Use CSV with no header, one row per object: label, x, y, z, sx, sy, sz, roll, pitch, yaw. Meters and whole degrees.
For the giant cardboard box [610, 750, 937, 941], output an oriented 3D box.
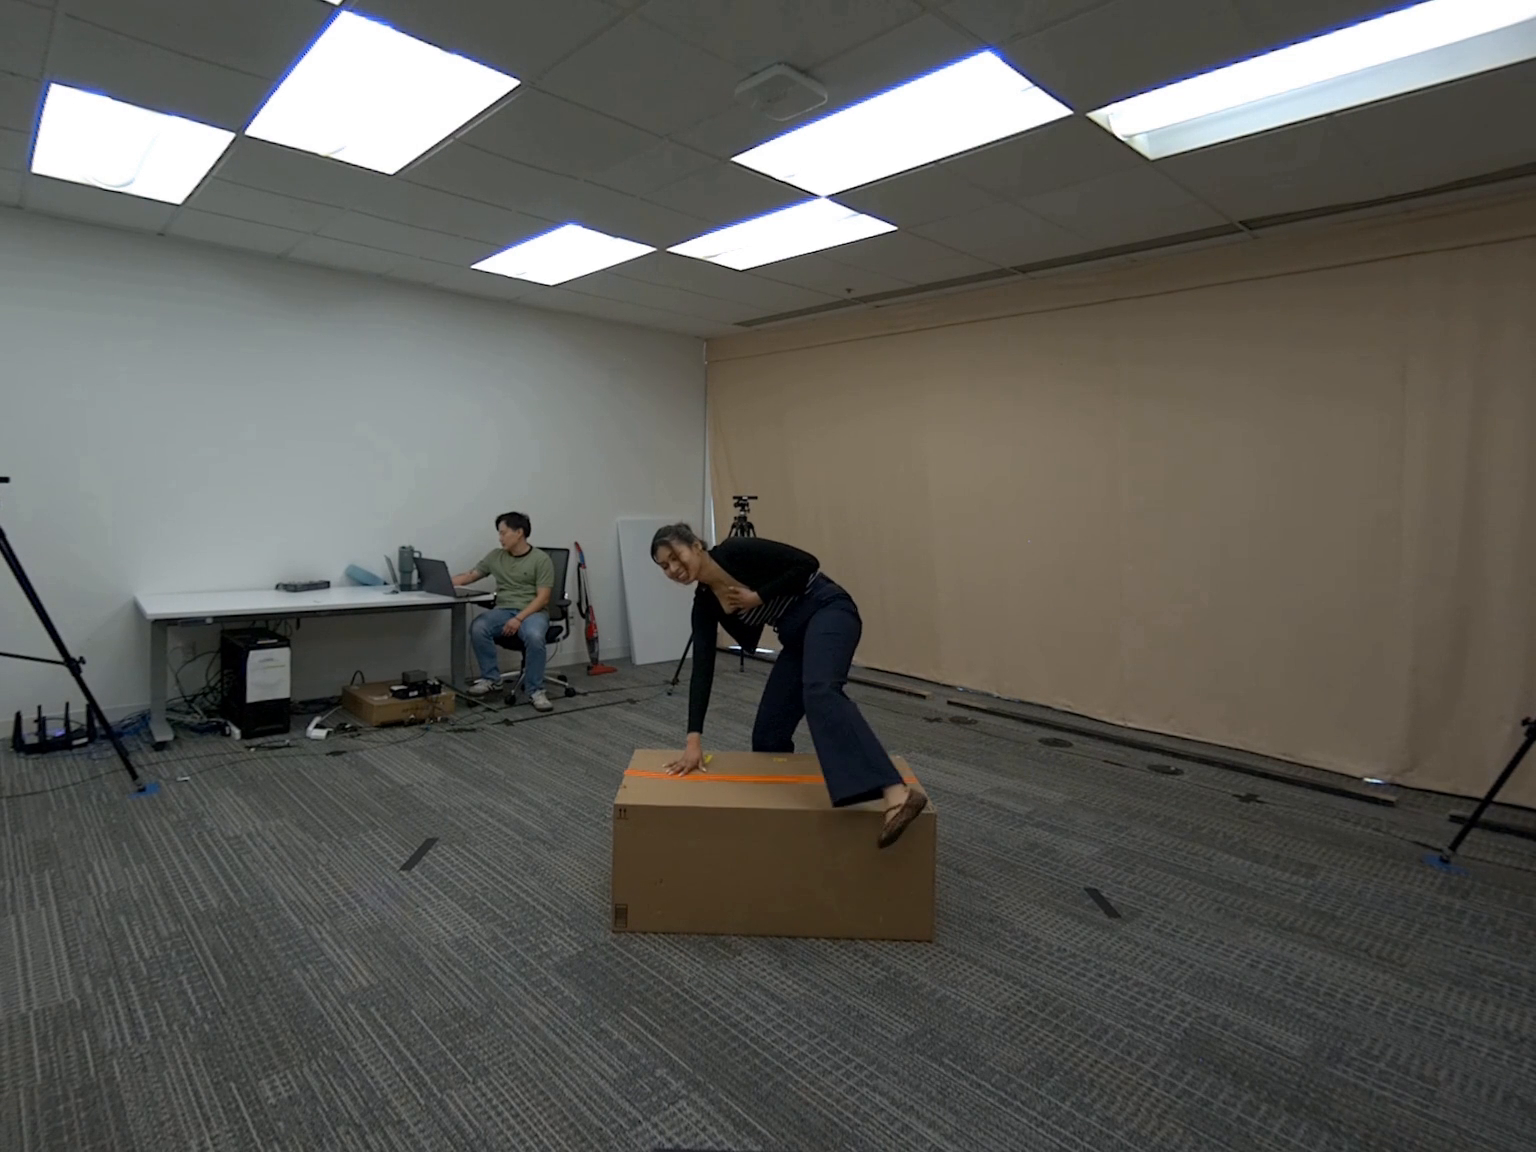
giant cardboard box,0.004,0.907,2.933,1.026,0.425,0.579,1,4,0
